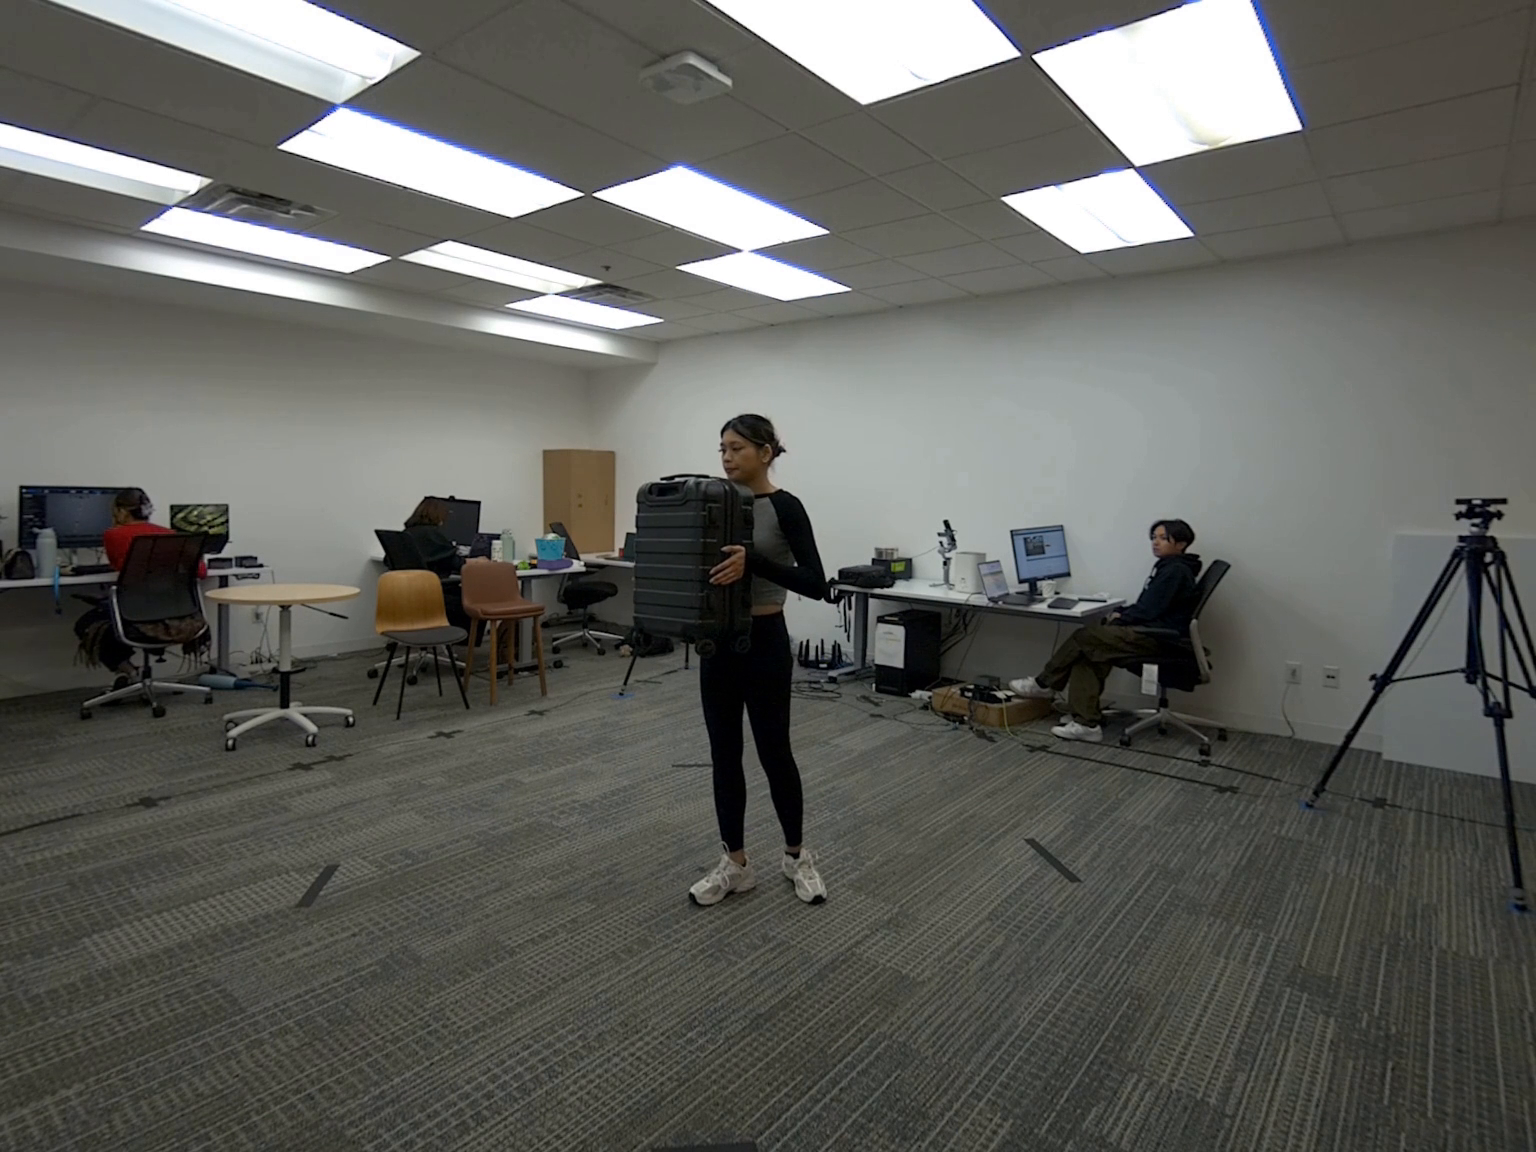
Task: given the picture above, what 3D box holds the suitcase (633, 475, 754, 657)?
[{"bbox_3d":[-0.252,-0.045,2.700,0.387,0.550,0.240,-1,-2,43],"label":"suitcase"}]
